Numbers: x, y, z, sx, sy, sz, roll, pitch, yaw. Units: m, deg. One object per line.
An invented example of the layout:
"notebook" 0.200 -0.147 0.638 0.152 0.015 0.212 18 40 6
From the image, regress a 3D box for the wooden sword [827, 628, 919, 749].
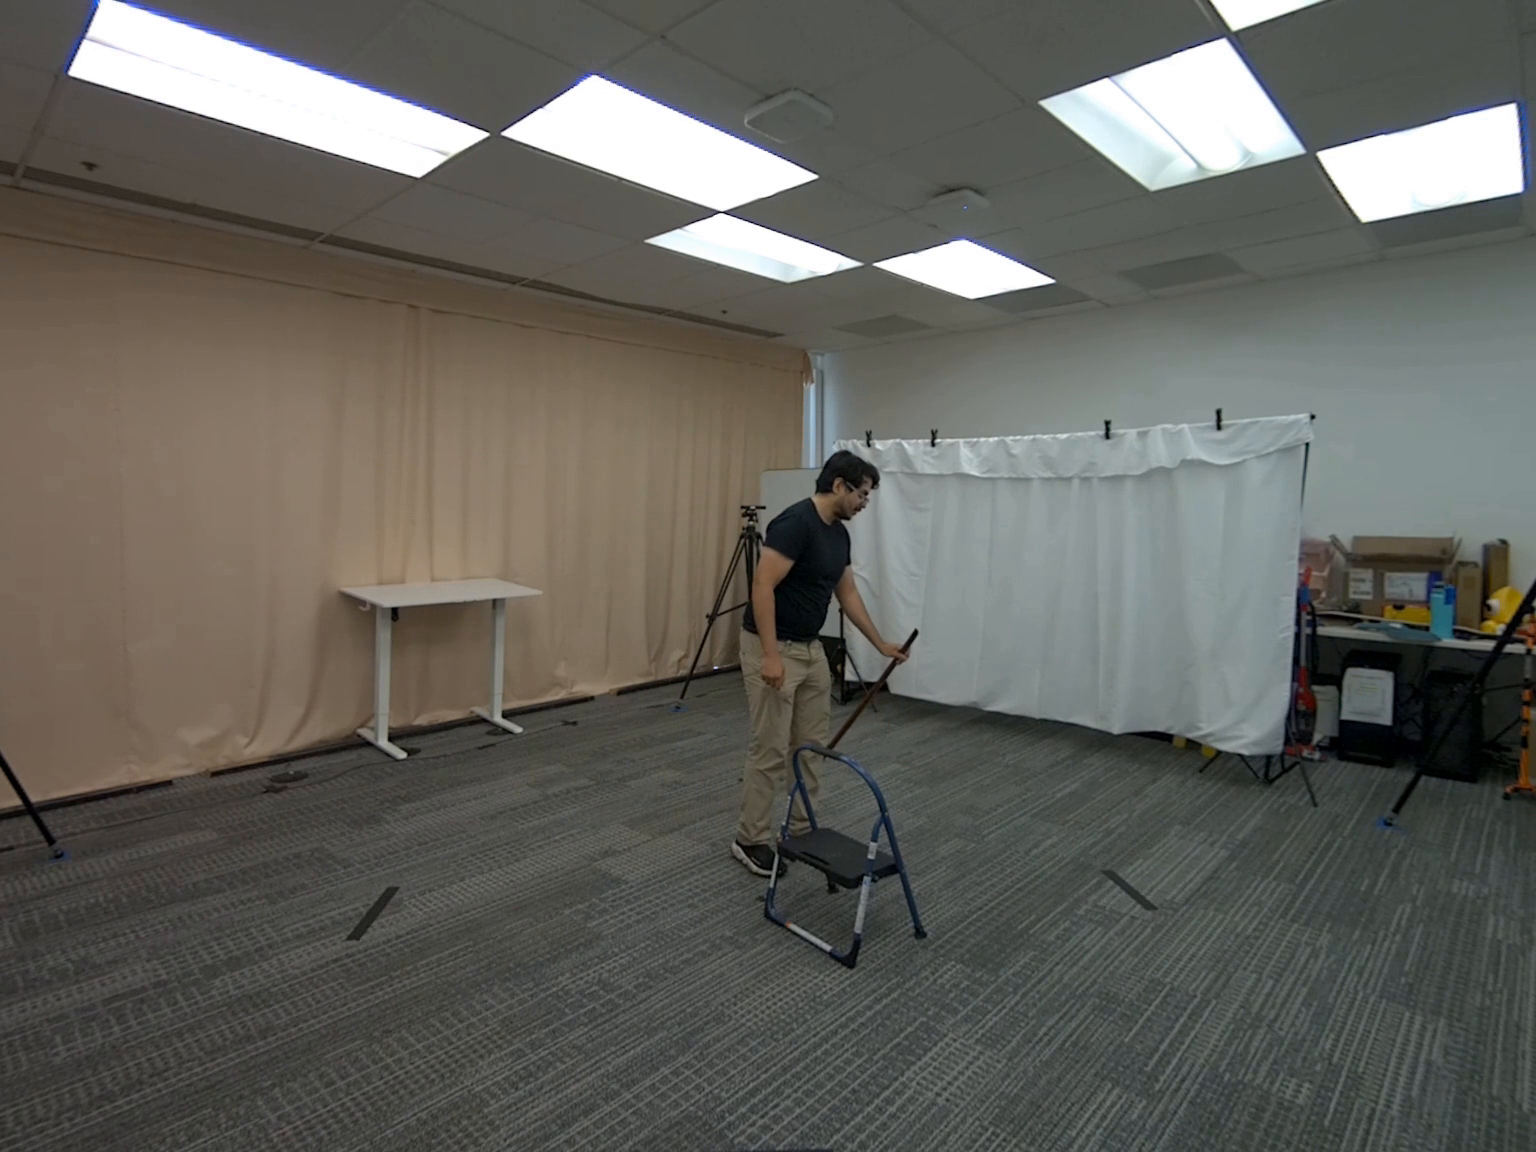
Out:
"wooden sword" 0.371 0.580 3.598 0.052 1.025 0.024 37 35 7
